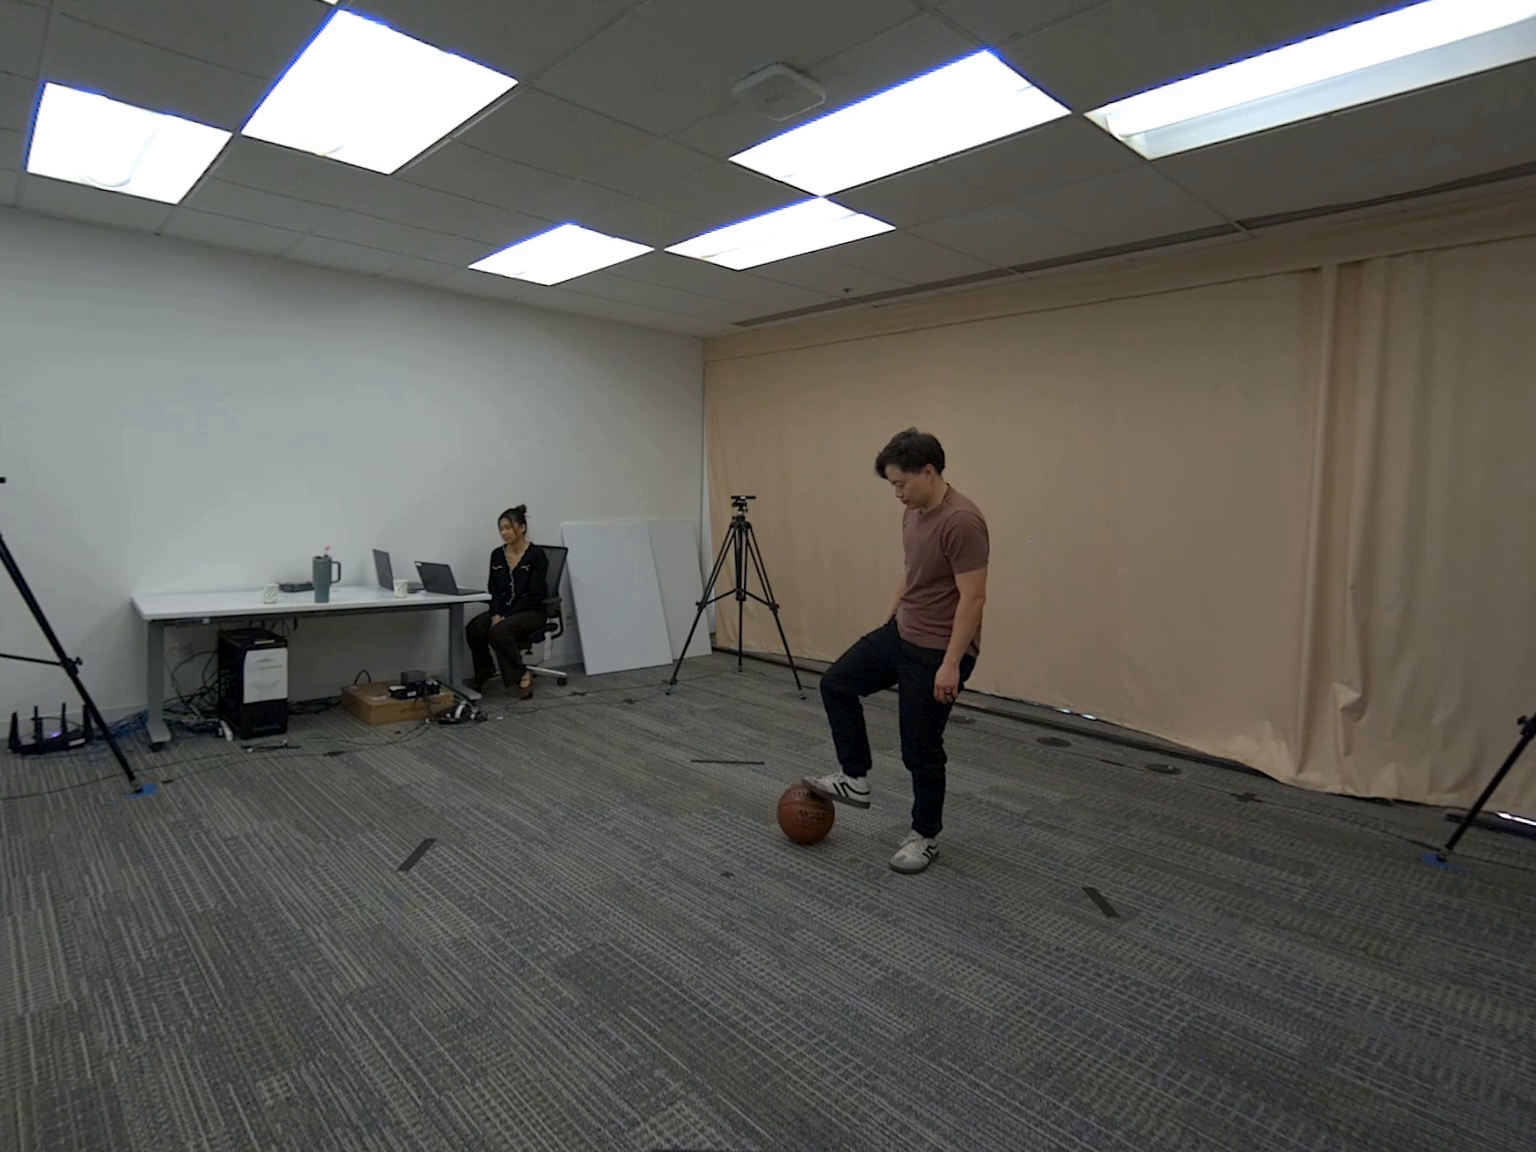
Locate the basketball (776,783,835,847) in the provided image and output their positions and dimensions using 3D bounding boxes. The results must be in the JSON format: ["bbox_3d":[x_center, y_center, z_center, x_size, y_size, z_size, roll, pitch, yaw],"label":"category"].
[{"bbox_3d":[0.147,0.960,3.432,0.236,0.235,0.237,1,4,-1],"label":"basketball"}]
